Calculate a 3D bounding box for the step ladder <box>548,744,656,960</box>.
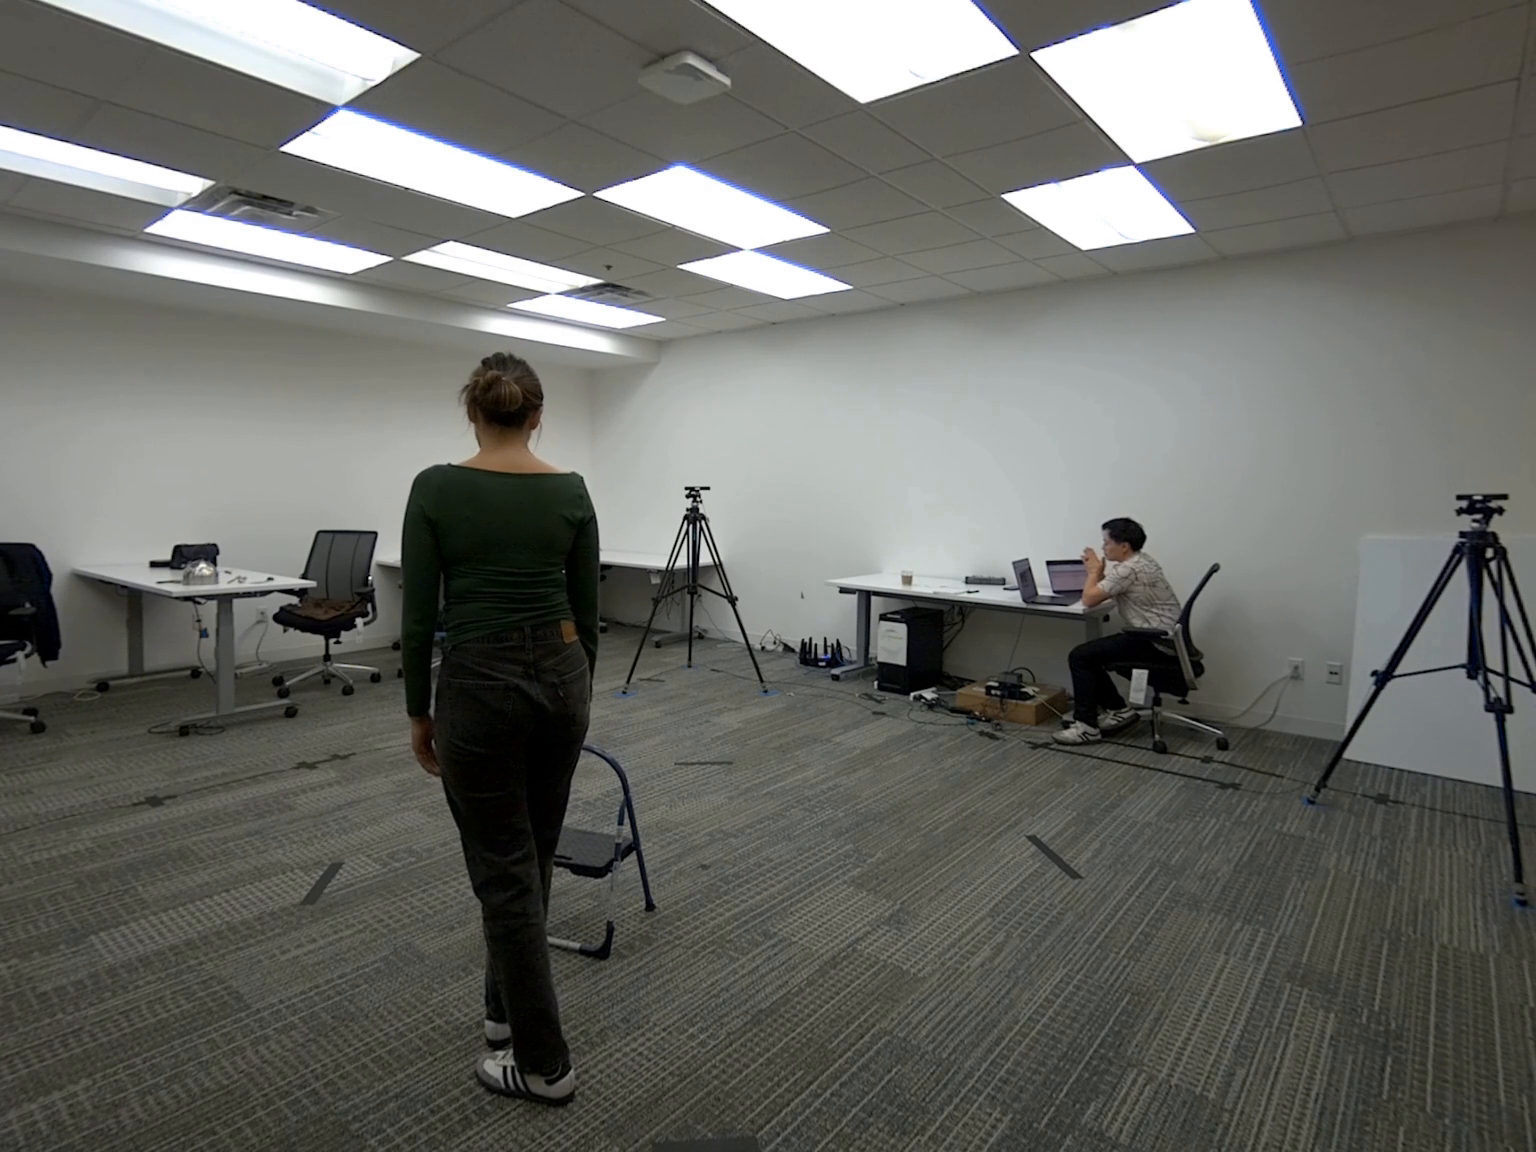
[{"bbox_3d":[-0.626,0.797,2.700,0.439,0.604,0.344,2,4,18],"label":"step ladder"}]
